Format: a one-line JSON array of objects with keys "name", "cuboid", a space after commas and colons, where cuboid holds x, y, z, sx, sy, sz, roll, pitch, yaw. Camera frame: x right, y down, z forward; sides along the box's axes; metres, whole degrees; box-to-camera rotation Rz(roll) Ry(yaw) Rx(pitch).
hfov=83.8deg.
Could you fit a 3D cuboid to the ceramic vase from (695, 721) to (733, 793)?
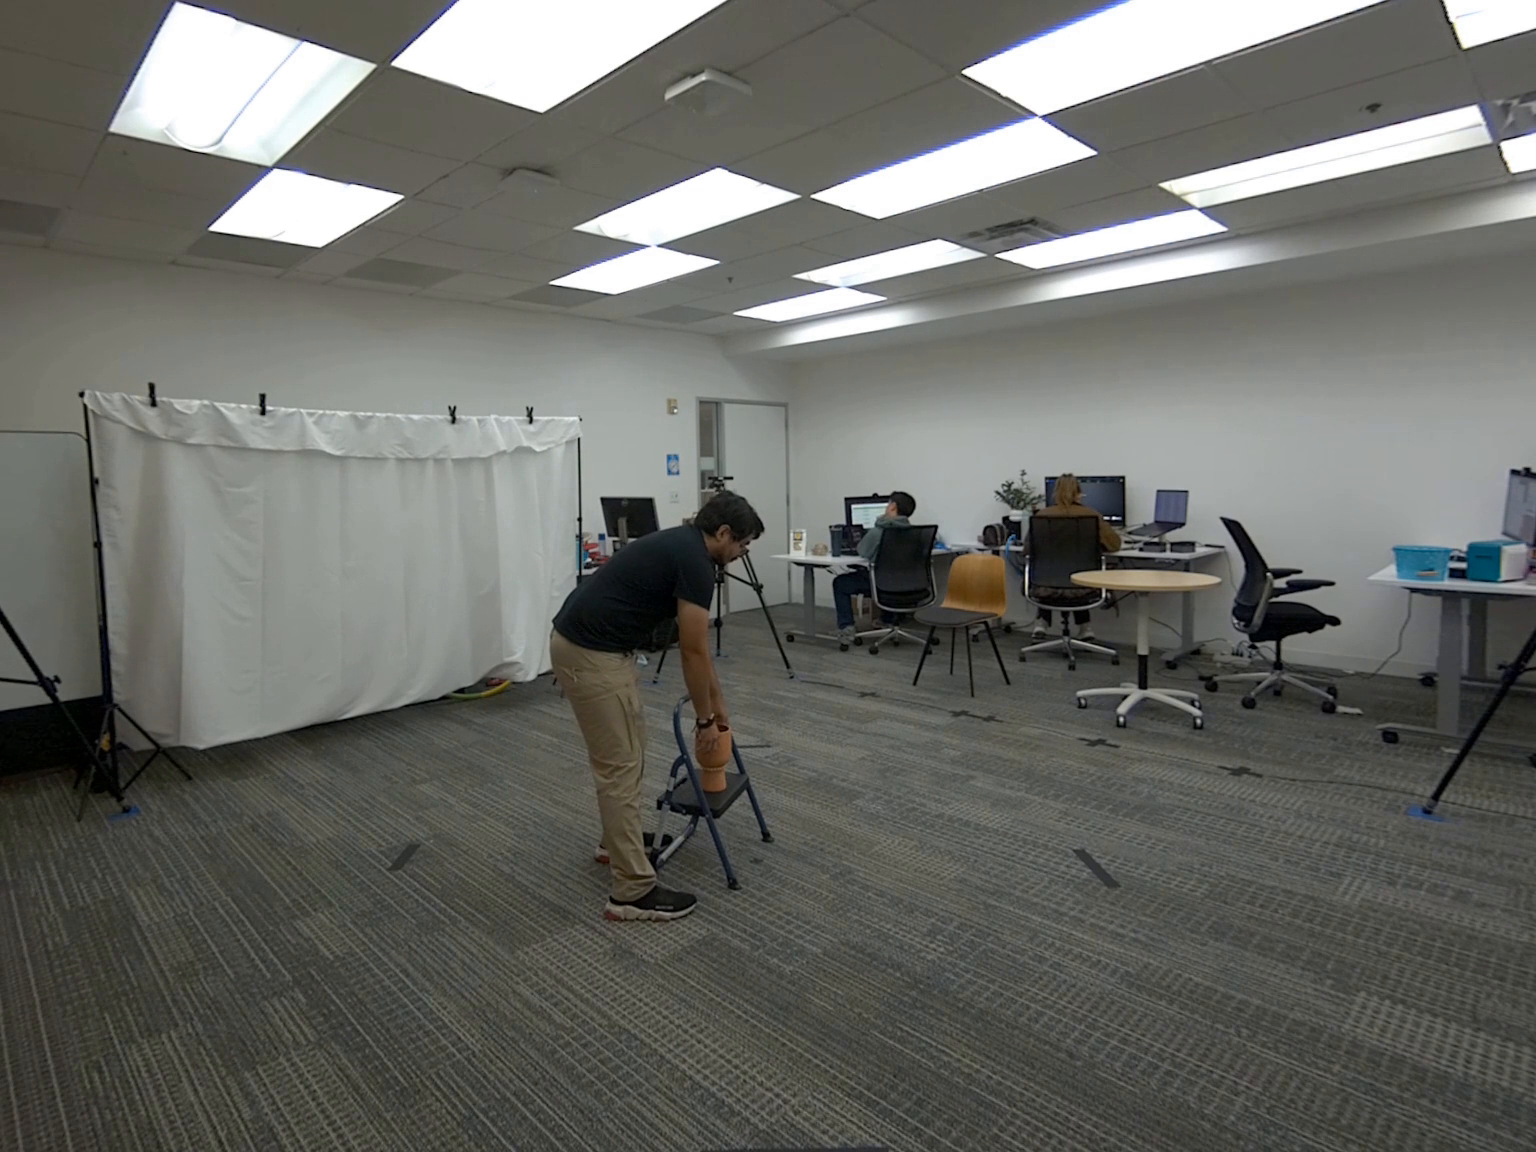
[{"name": "ceramic vase", "cuboid": [-0.203, 0.664, 3.118, 0.139, 0.219, 0.155, 4, 7, 41]}]
